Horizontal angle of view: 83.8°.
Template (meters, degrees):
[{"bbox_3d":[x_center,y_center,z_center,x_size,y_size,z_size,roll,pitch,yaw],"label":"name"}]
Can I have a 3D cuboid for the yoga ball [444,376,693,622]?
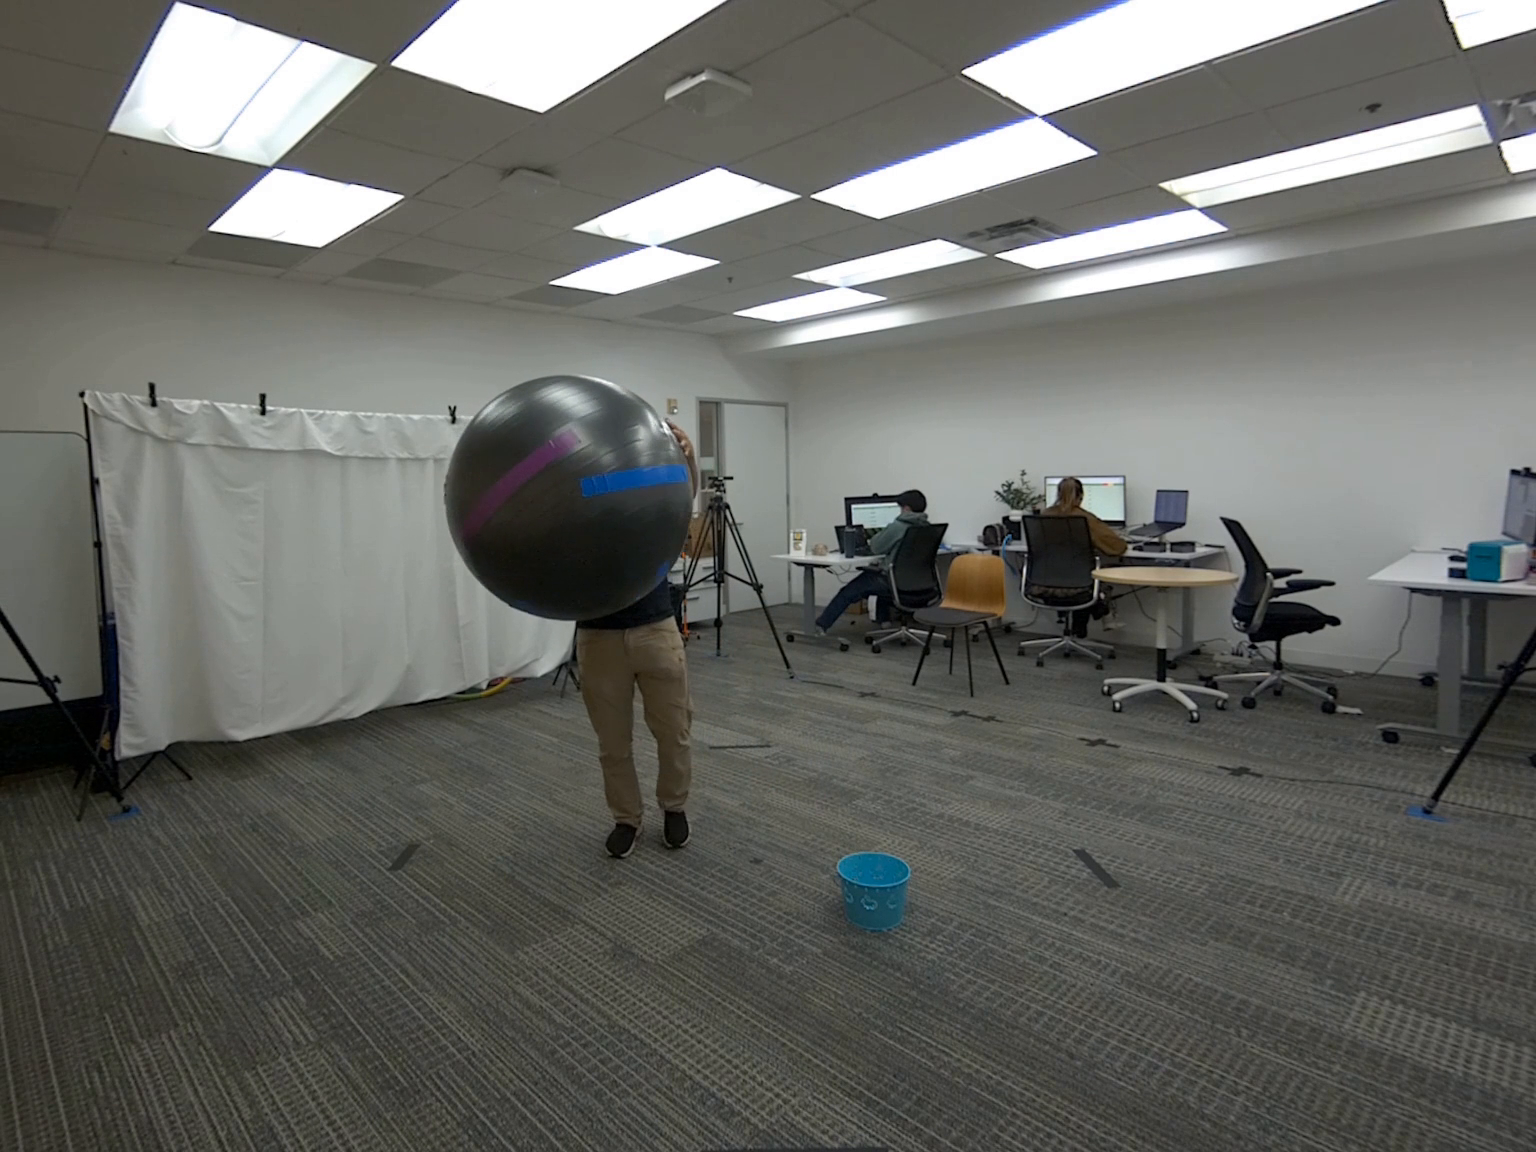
[{"bbox_3d":[-0.616,-0.239,2.645,0.757,0.755,0.762,-1,5,-2],"label":"yoga ball"}]
